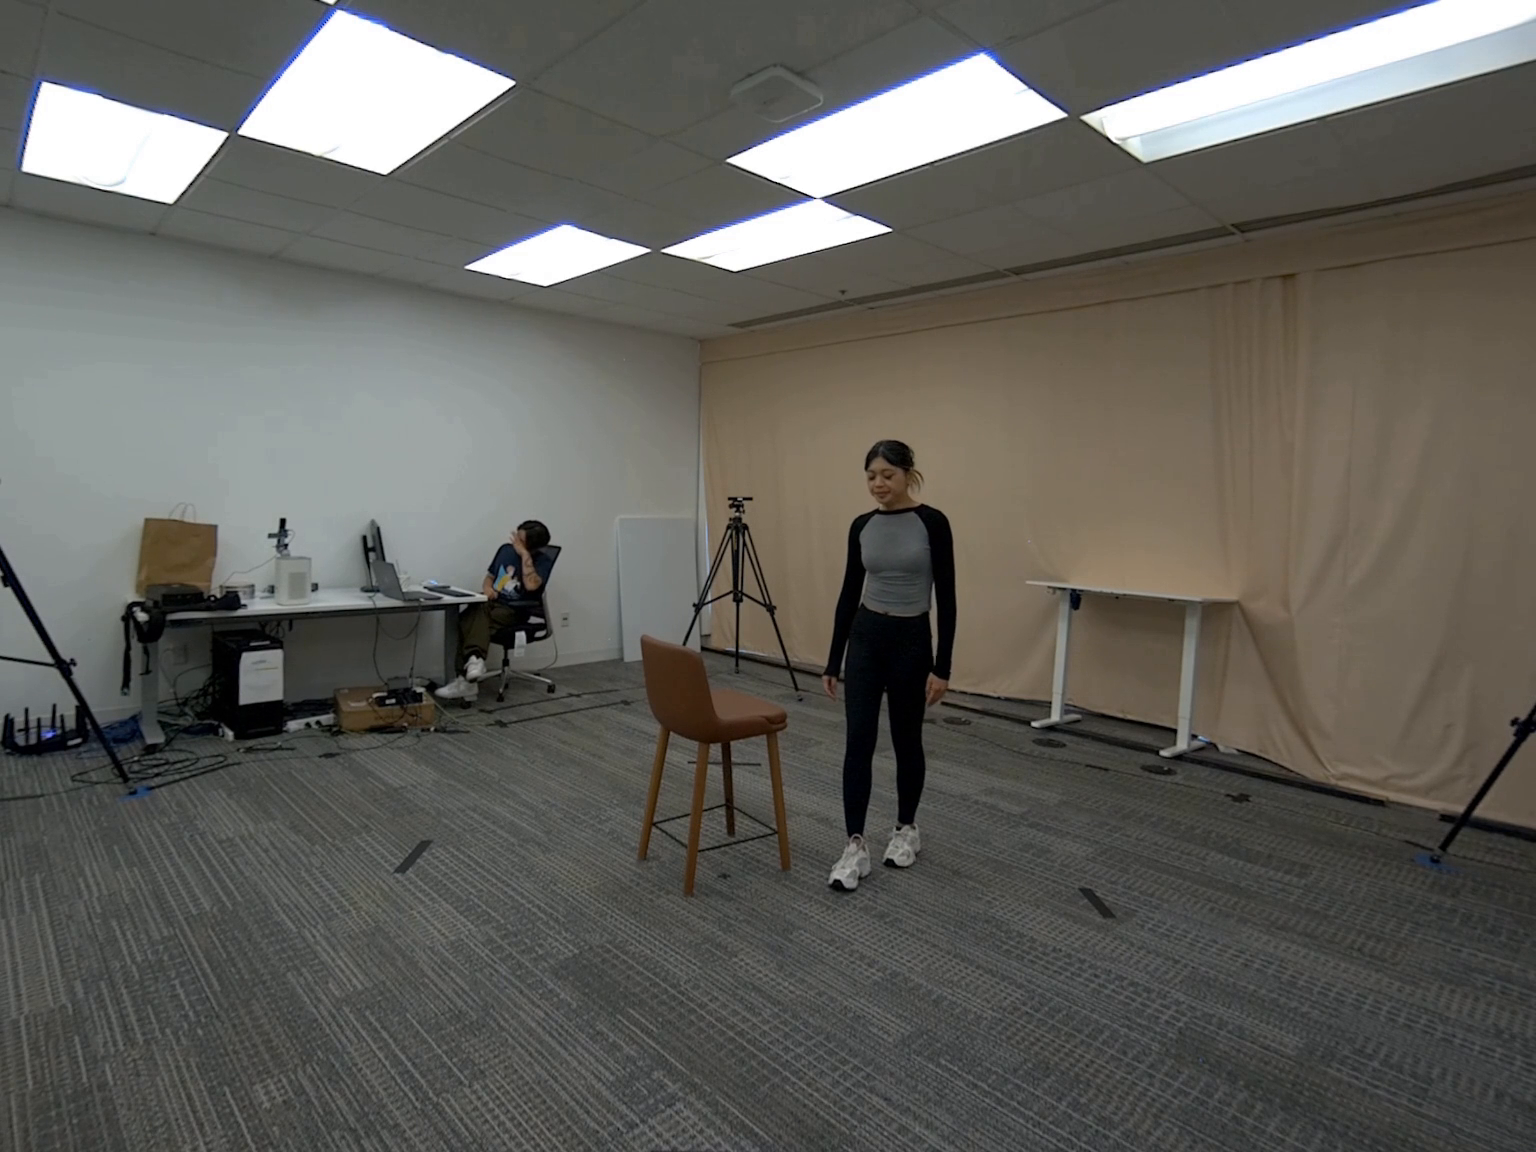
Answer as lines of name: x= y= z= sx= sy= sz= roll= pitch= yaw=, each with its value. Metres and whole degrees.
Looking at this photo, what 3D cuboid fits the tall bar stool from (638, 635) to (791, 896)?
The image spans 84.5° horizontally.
tall bar stool: x=-0.208 y=0.663 z=3.181 sx=0.458 sy=0.887 sz=0.468 roll=-3 pitch=6 yaw=-35
